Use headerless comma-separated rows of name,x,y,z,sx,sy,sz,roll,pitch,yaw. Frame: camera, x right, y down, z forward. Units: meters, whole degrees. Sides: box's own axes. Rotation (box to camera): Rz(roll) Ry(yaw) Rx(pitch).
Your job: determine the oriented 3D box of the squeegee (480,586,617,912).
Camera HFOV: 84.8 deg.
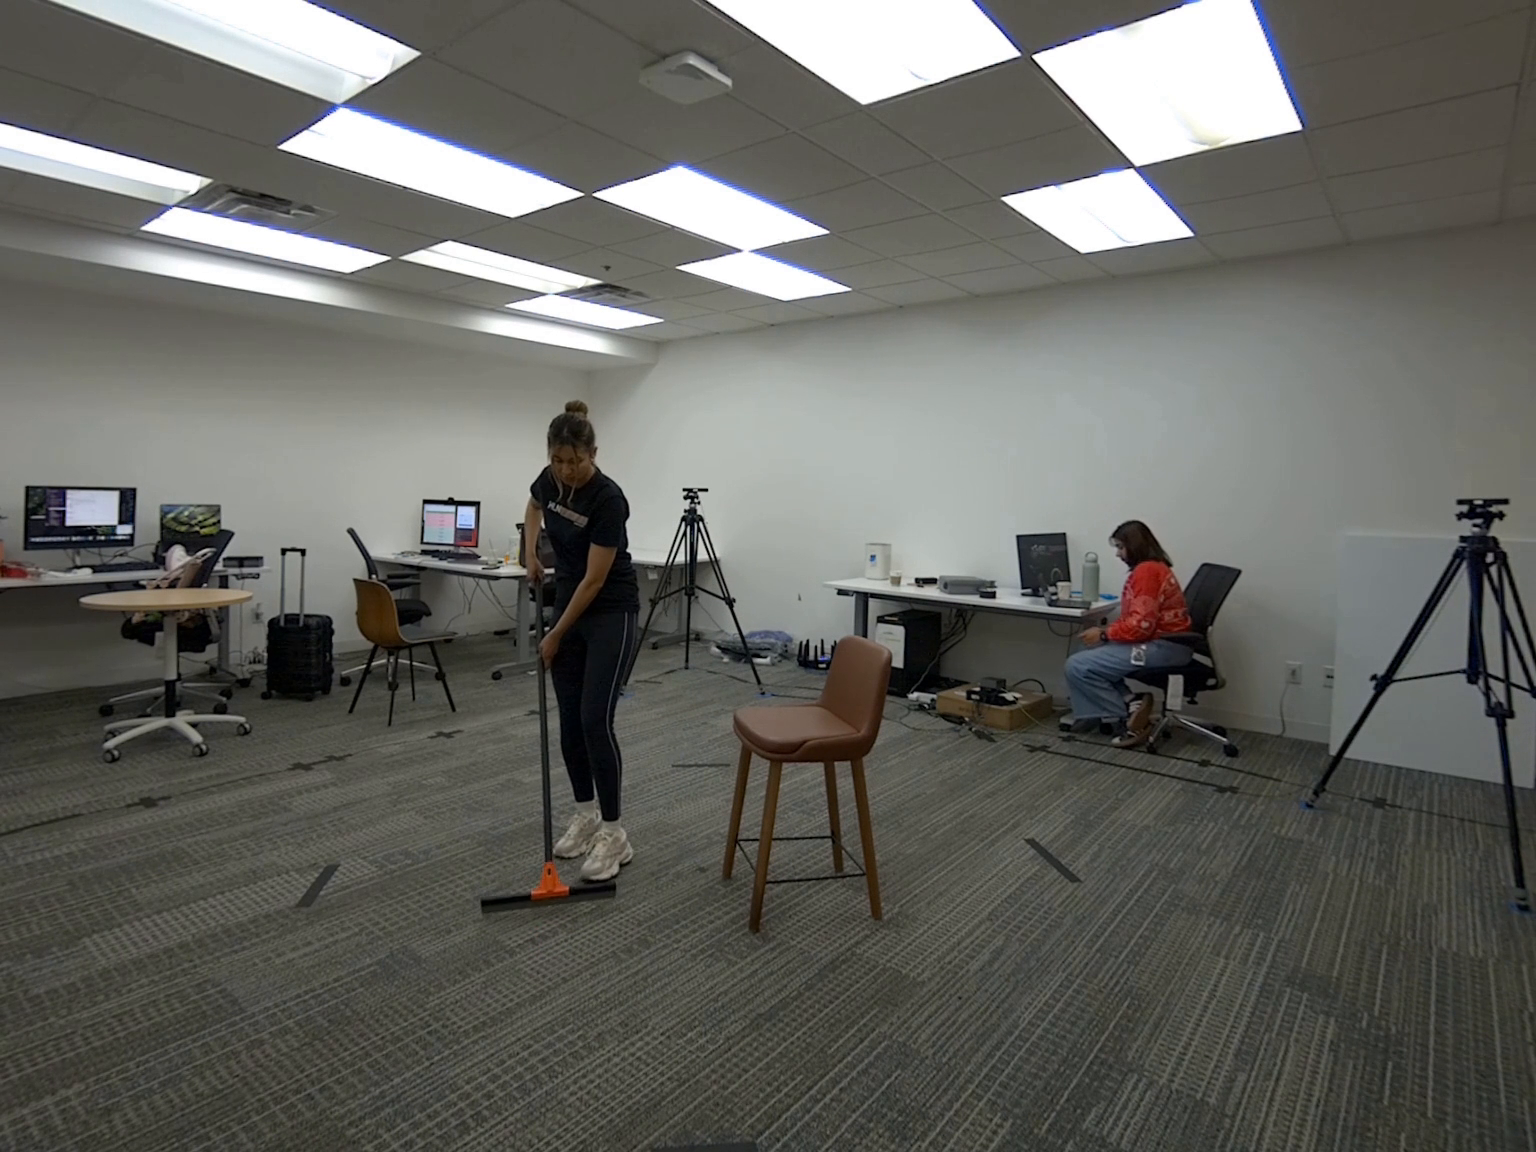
squeegee,-0.847,0.380,3.142,0.431,1.583,0.052,-3,-31,-14
